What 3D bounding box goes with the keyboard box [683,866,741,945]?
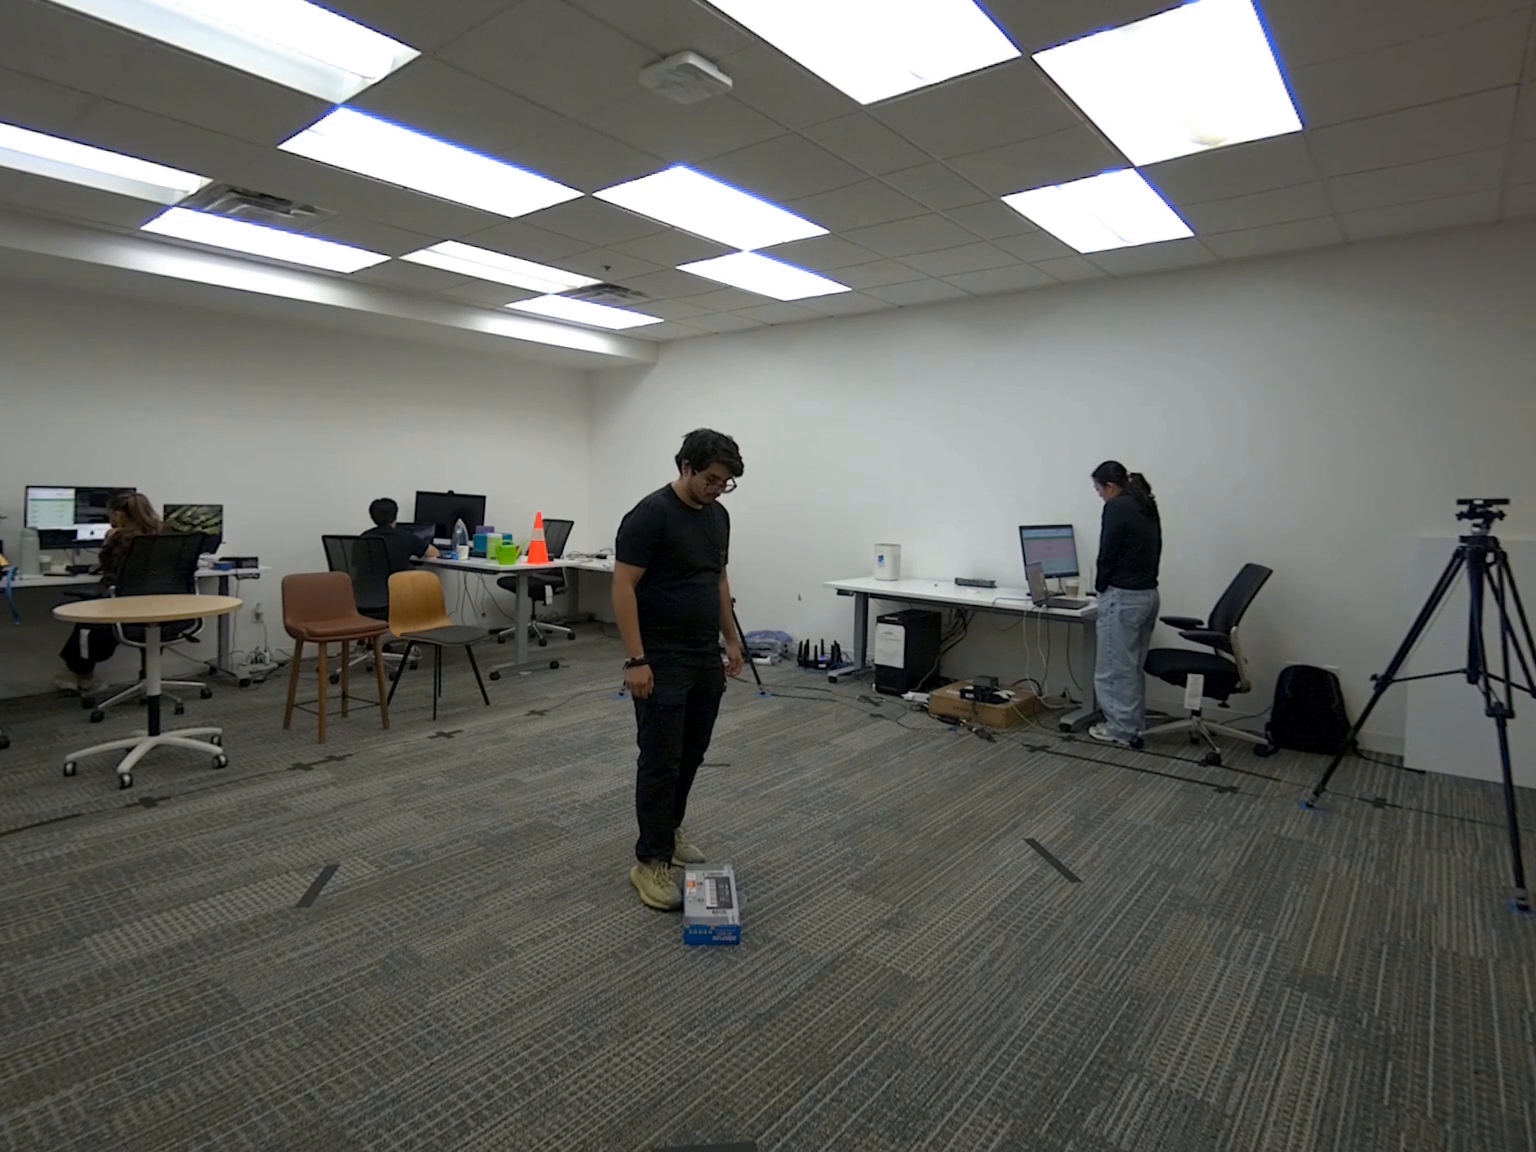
[{"bbox_3d":[-0.198,1.069,2.807,0.175,0.059,0.440,0,6,-5],"label":"keyboard box"}]
